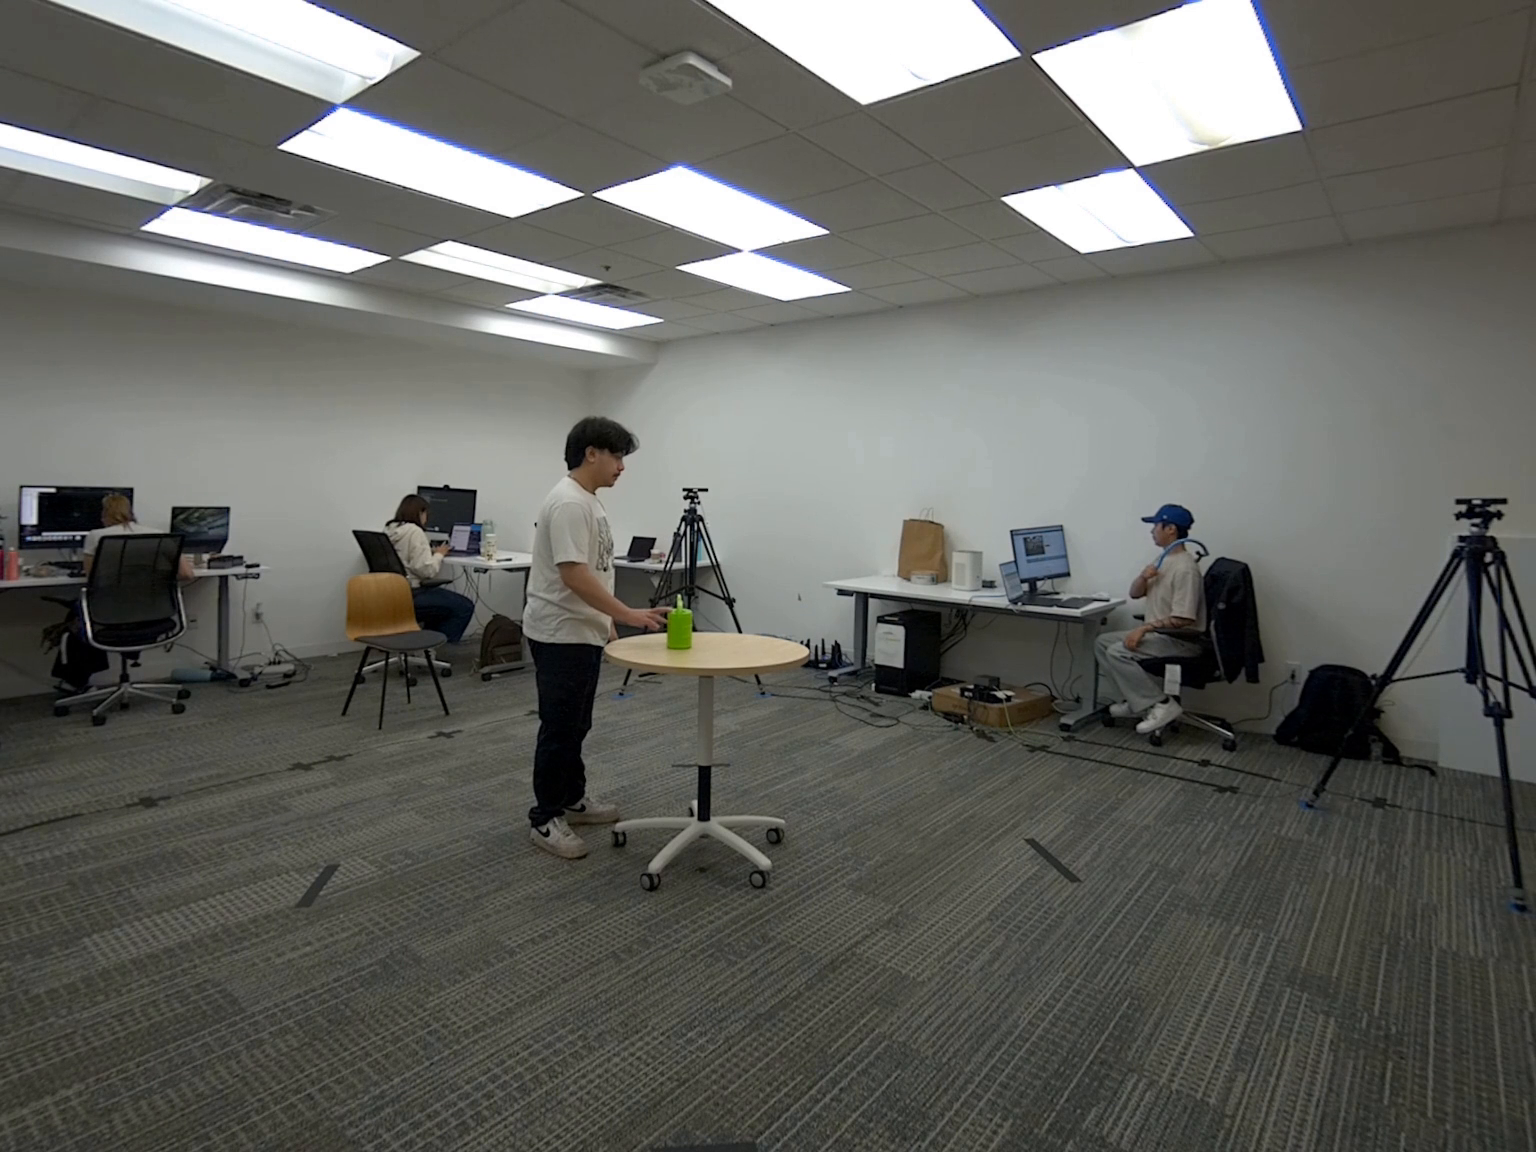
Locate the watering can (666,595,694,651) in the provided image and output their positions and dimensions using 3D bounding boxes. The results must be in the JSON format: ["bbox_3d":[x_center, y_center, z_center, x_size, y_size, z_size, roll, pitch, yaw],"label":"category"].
[{"bbox_3d":[-0.345,0.179,3.253,0.098,0.176,0.279,0,4,0],"label":"watering can"}]
